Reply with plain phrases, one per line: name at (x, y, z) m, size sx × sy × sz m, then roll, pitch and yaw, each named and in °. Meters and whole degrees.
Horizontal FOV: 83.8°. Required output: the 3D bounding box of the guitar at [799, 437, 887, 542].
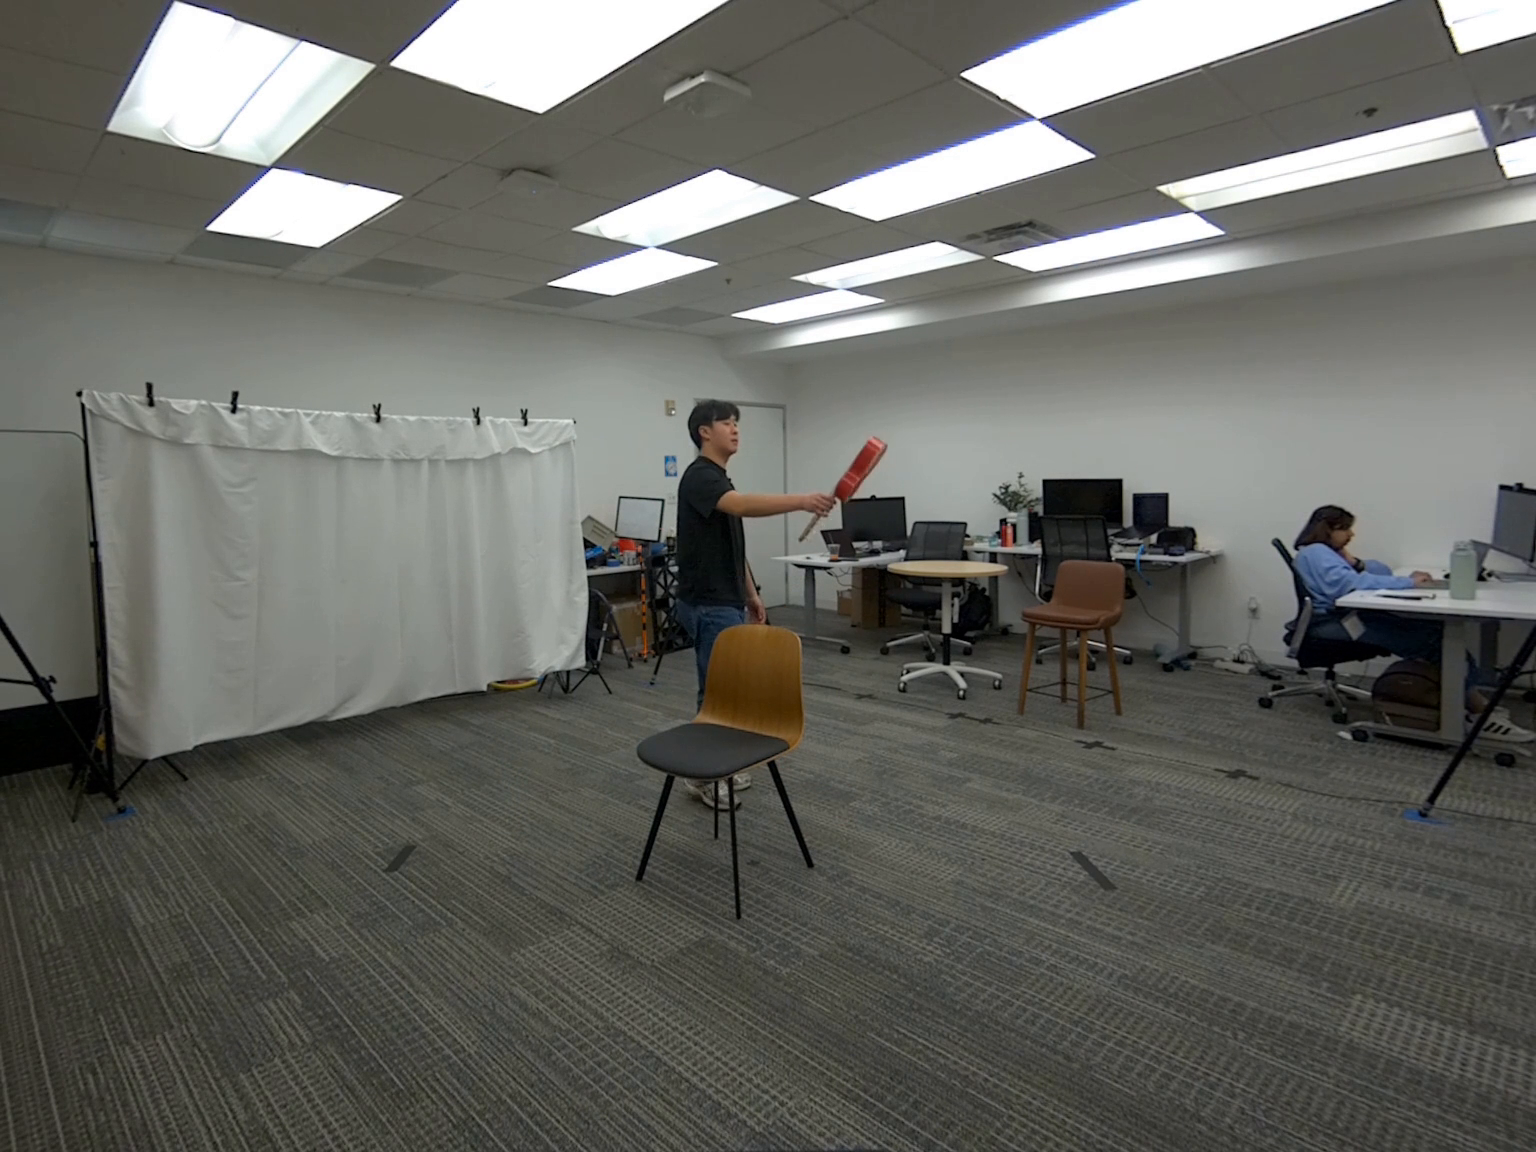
guitar at (0.296, -0.322, 3.360) m, size 0.072 × 0.496 × 0.191 m, roll 36°, pitch 16°, yaw 9°
